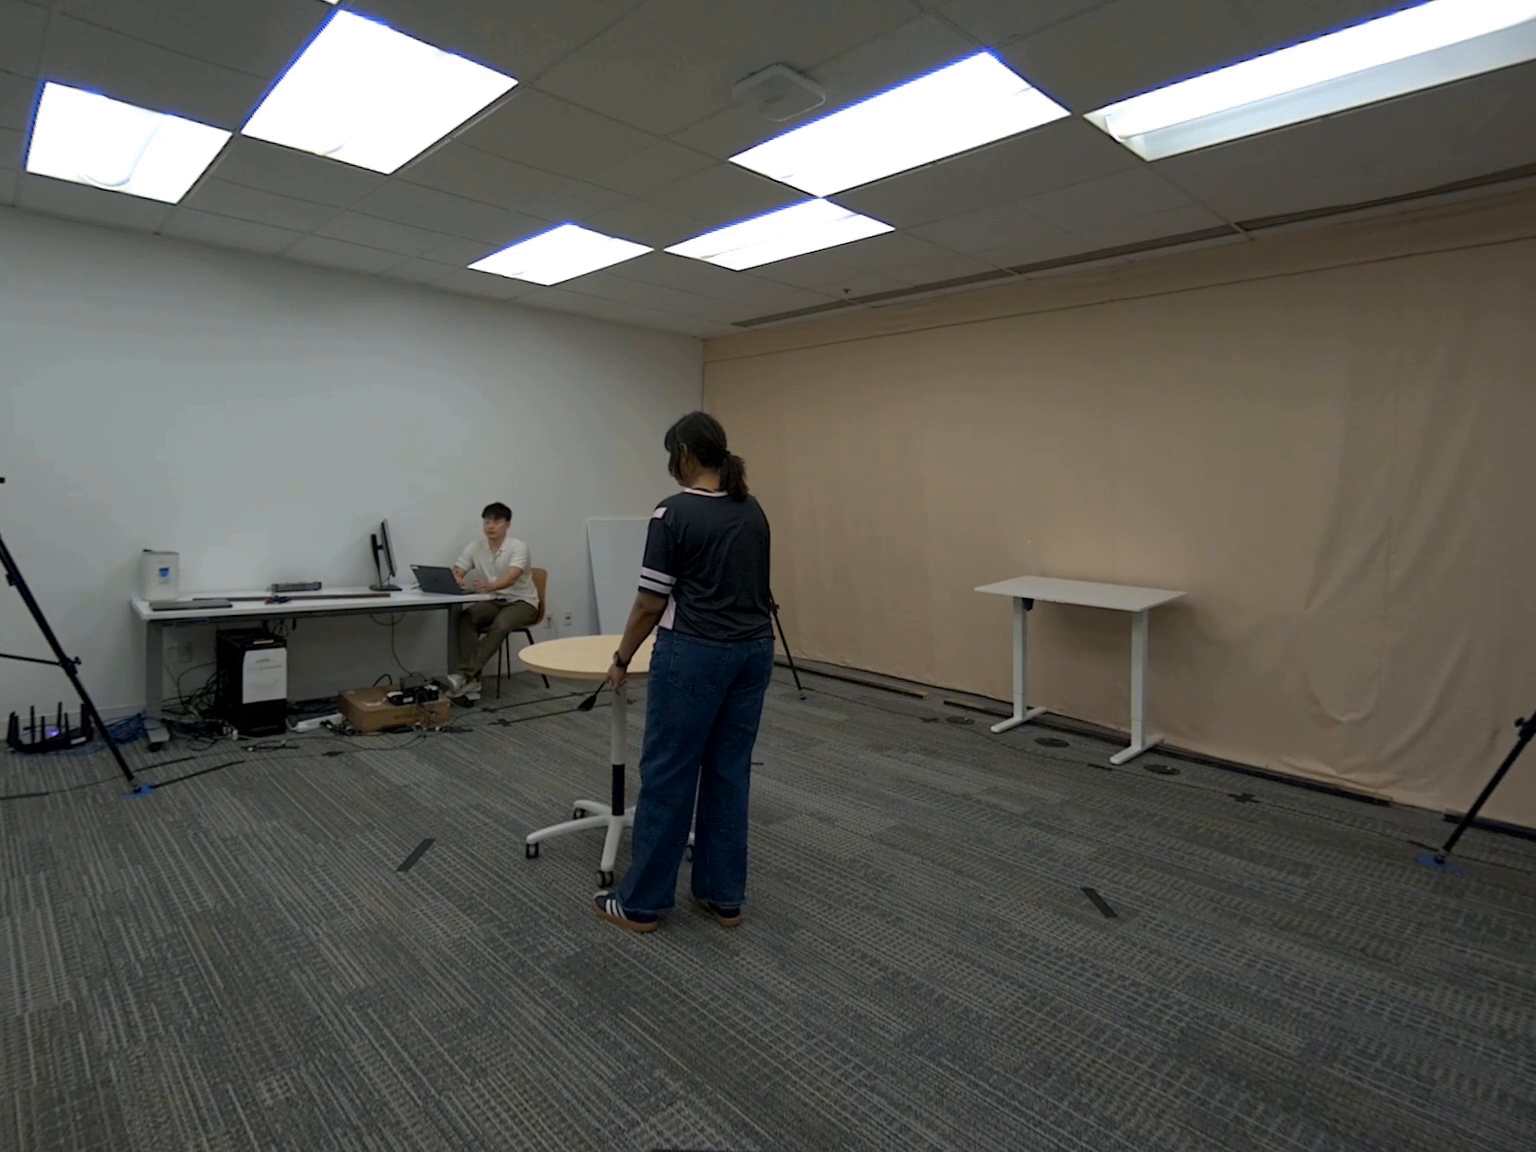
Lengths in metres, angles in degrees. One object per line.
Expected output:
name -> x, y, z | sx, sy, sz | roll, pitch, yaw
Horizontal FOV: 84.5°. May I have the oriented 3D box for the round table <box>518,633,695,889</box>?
round table -> -0.587, 0.687, 3.298 | 0.763, 0.792, 0.767 | 1, 4, -1
